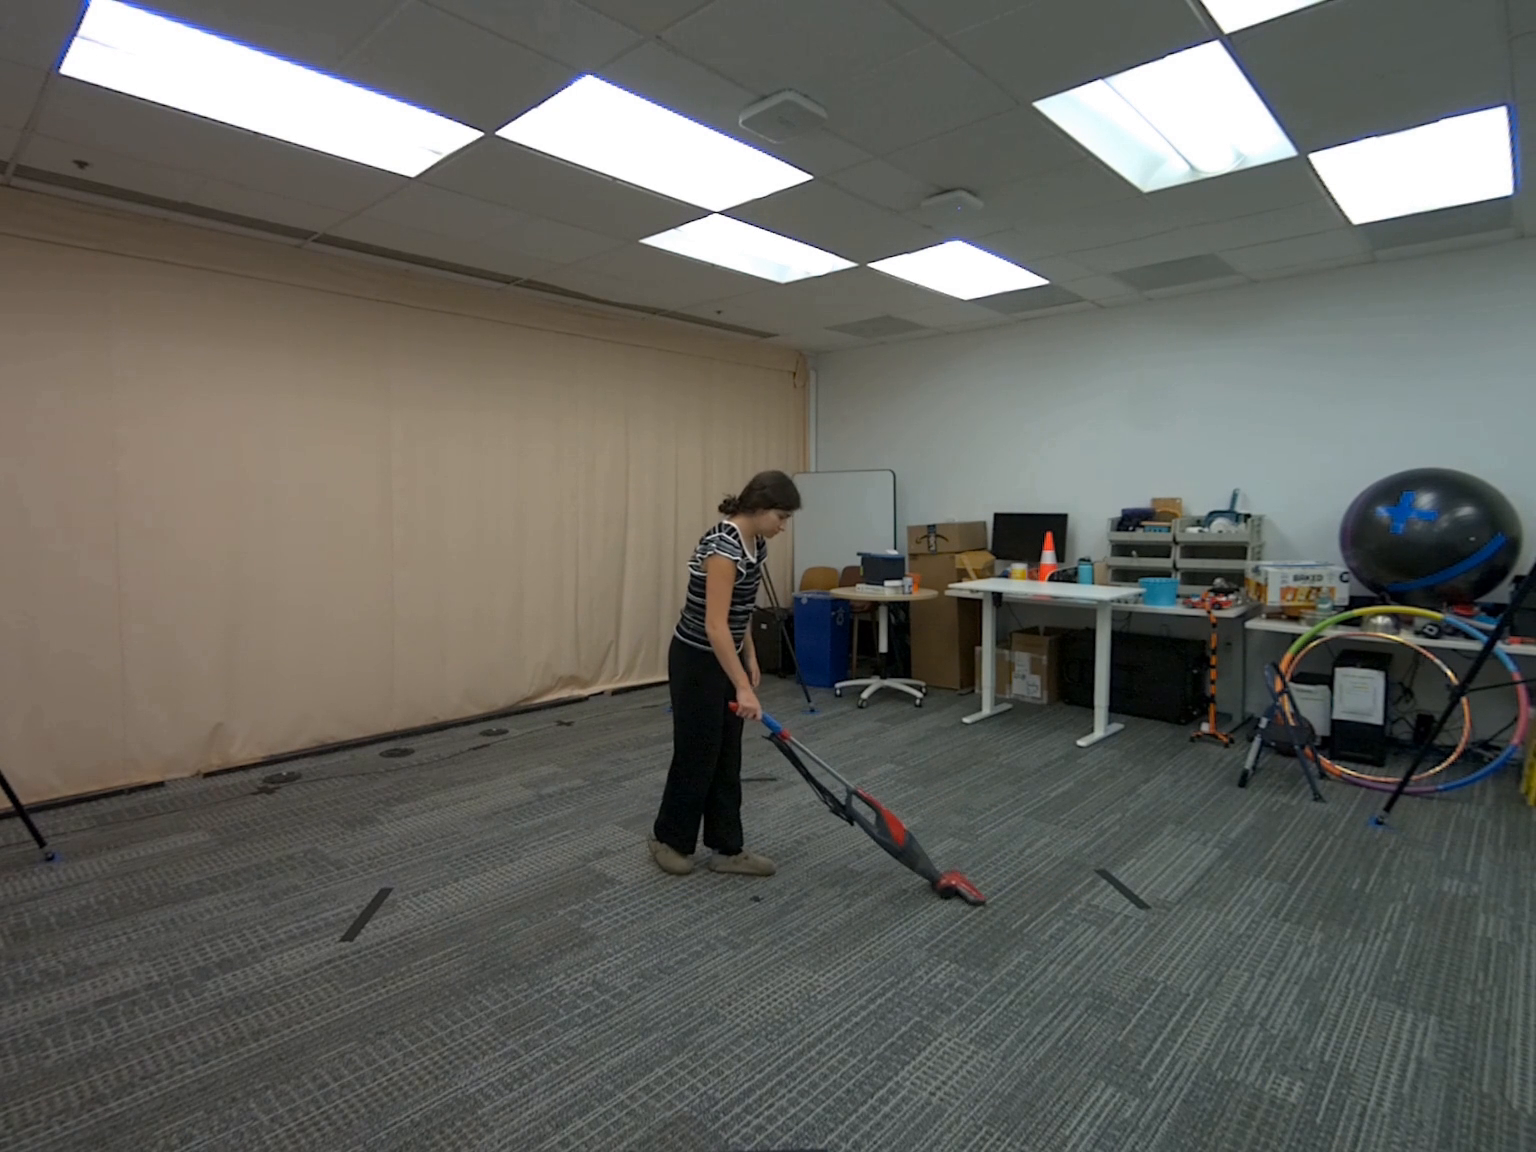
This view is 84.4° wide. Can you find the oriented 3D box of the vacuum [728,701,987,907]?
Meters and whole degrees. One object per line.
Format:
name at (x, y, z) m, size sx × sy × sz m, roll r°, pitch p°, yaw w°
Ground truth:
vacuum at (0.282, 0.786, 2.986) m, size 1.041 × 0.144 × 0.255 m, roll 40°, pitch -2°, yaw -7°
